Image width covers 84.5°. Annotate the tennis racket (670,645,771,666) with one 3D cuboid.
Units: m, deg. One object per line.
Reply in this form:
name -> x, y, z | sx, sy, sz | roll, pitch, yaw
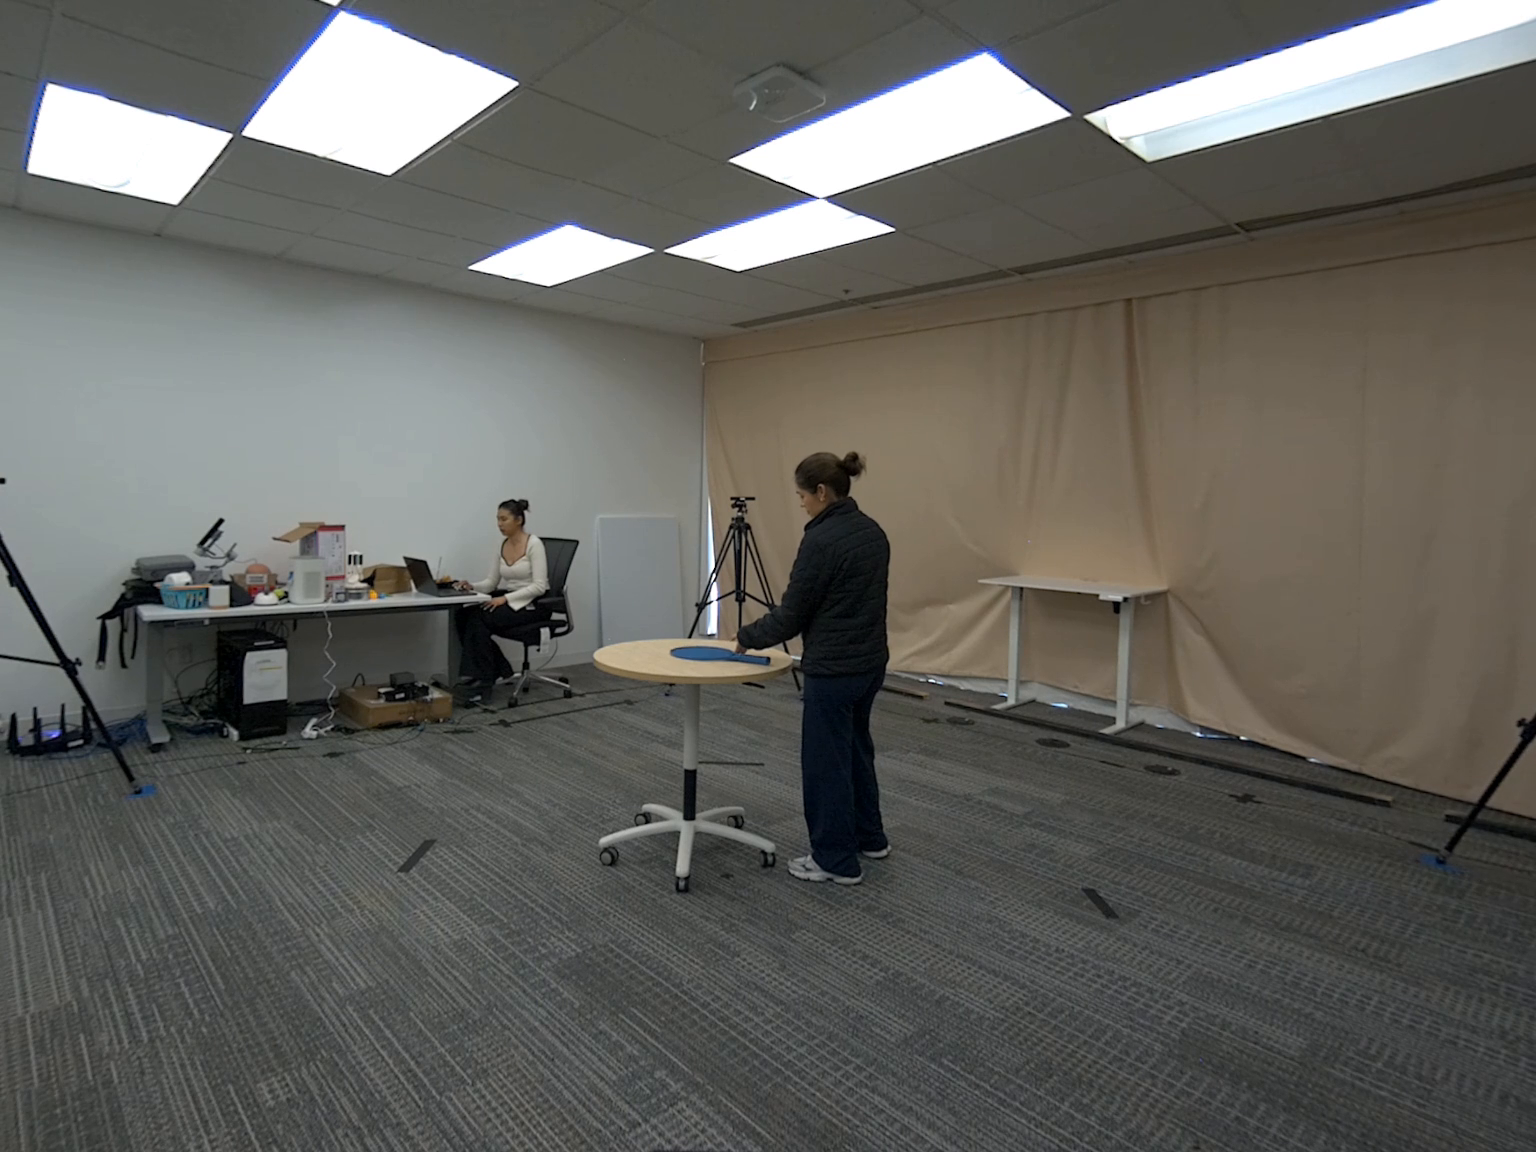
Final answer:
tennis racket -> -0.190, 0.302, 3.209 | 0.443, 0.031, 0.210 | 4, 9, 33
